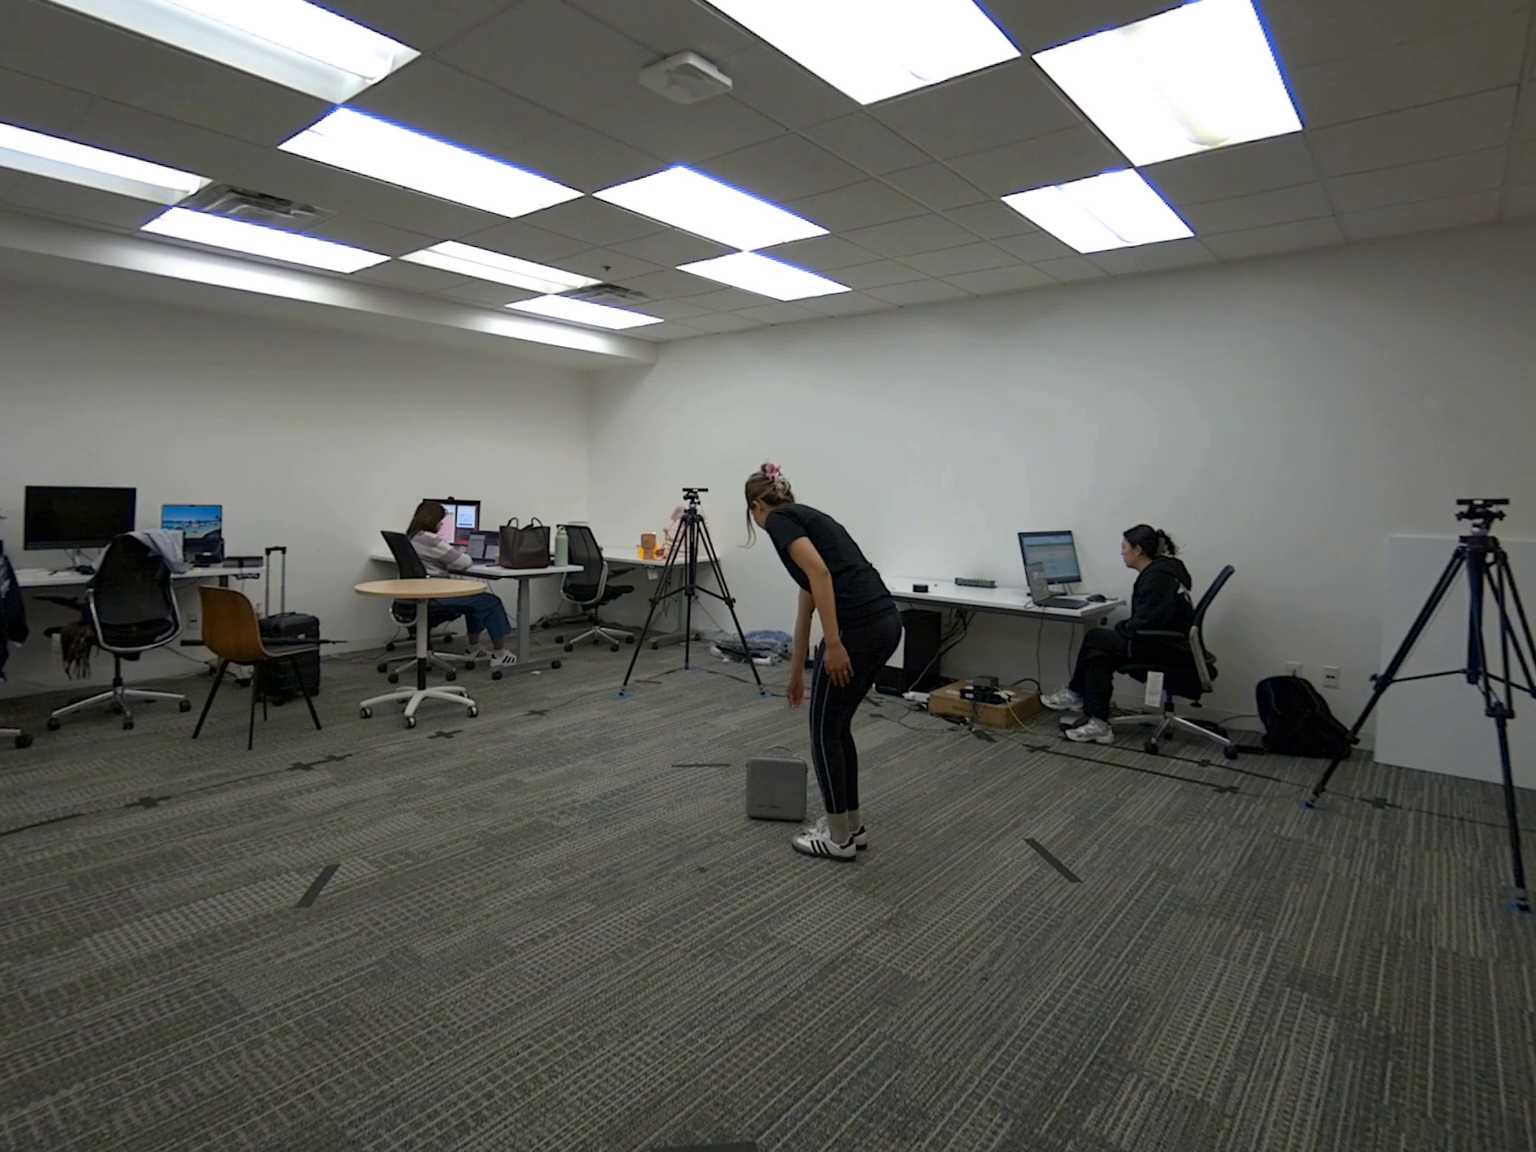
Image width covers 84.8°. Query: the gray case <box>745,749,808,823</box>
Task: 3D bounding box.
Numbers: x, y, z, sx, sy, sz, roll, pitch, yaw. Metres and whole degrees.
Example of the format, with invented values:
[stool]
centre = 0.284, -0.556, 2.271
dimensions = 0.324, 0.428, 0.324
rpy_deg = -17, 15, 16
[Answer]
[gray case]
centre = 0.027, 0.892, 3.631
dimensions = 0.260, 0.262, 0.102
rpy_deg = 2, -6, 10
